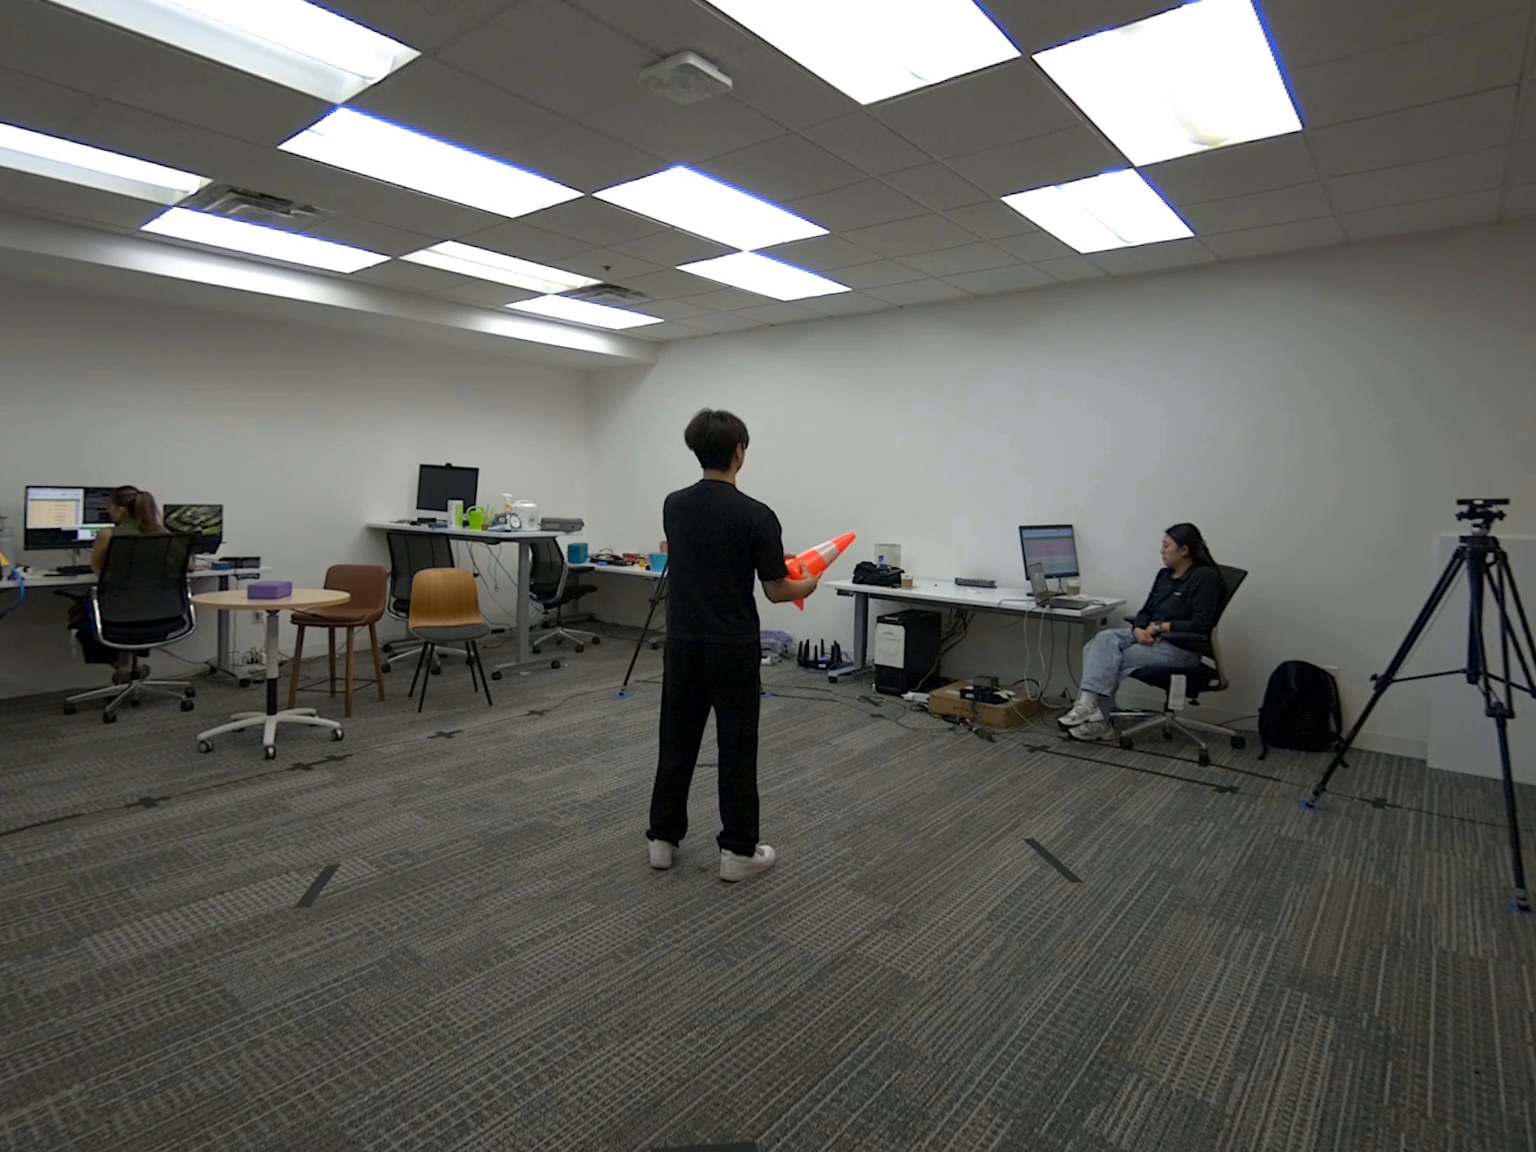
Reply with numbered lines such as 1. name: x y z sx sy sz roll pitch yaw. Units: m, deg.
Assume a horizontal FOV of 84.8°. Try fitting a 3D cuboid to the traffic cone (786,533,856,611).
1. traffic cone: 0.197 -0.075 3.426 0.380 0.198 0.212 -33 47 -24
